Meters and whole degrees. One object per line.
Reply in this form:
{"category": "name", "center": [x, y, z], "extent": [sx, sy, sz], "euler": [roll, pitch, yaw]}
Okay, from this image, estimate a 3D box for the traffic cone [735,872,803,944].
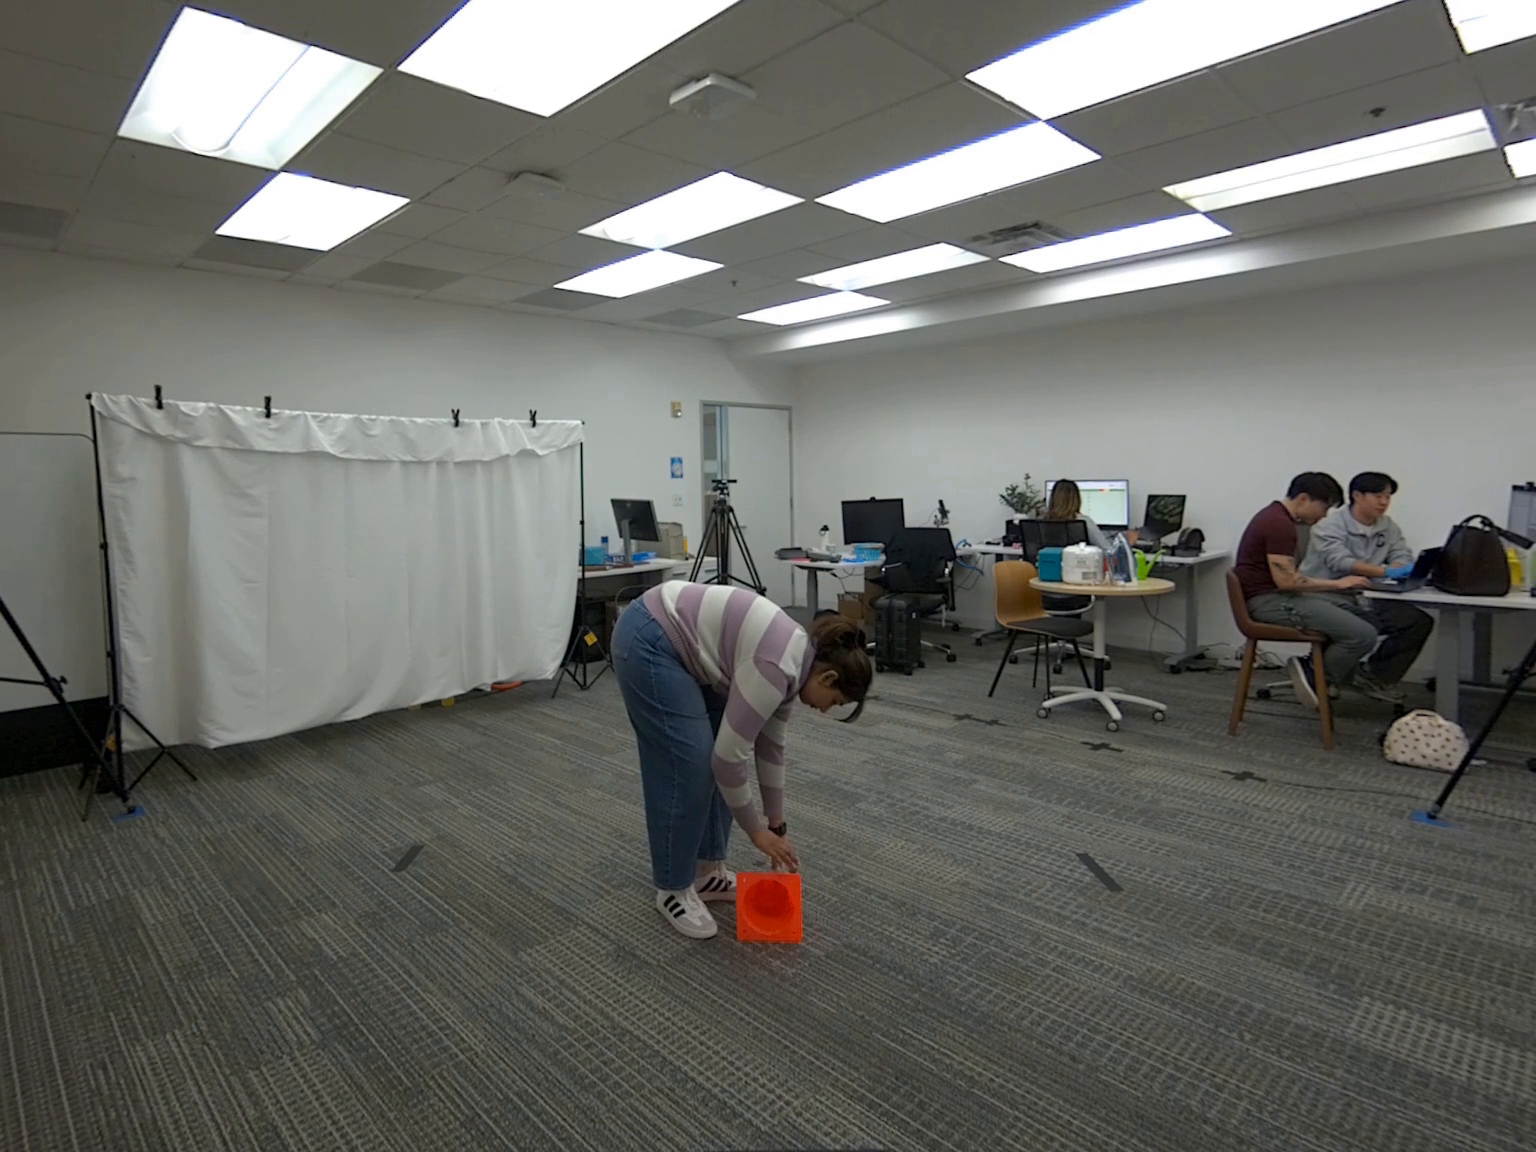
{"category": "traffic cone", "center": [0.033, 1.016, 2.783], "extent": [0.207, 0.204, 0.378], "euler": [-3, -5, 8]}
